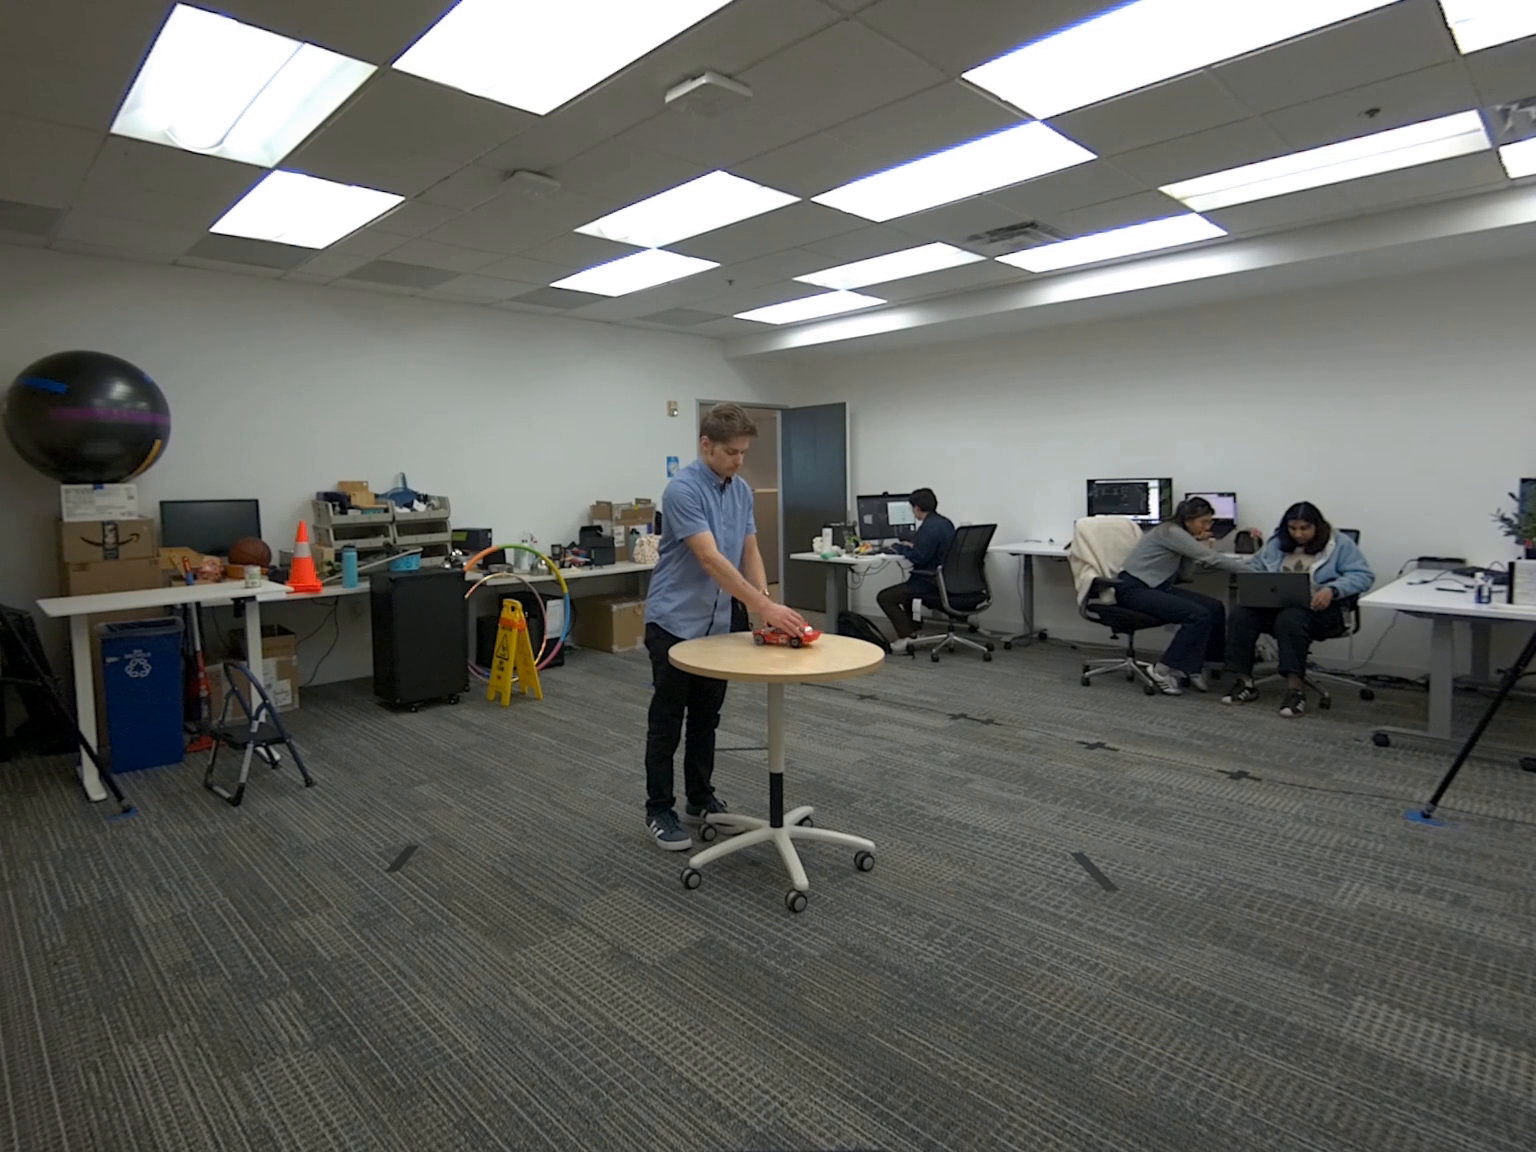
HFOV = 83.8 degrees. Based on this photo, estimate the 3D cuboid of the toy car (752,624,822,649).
[{"bbox_3d":[0.083,0.224,3.144,0.259,0.083,0.128,-9,2,26],"label":"toy car"}]
